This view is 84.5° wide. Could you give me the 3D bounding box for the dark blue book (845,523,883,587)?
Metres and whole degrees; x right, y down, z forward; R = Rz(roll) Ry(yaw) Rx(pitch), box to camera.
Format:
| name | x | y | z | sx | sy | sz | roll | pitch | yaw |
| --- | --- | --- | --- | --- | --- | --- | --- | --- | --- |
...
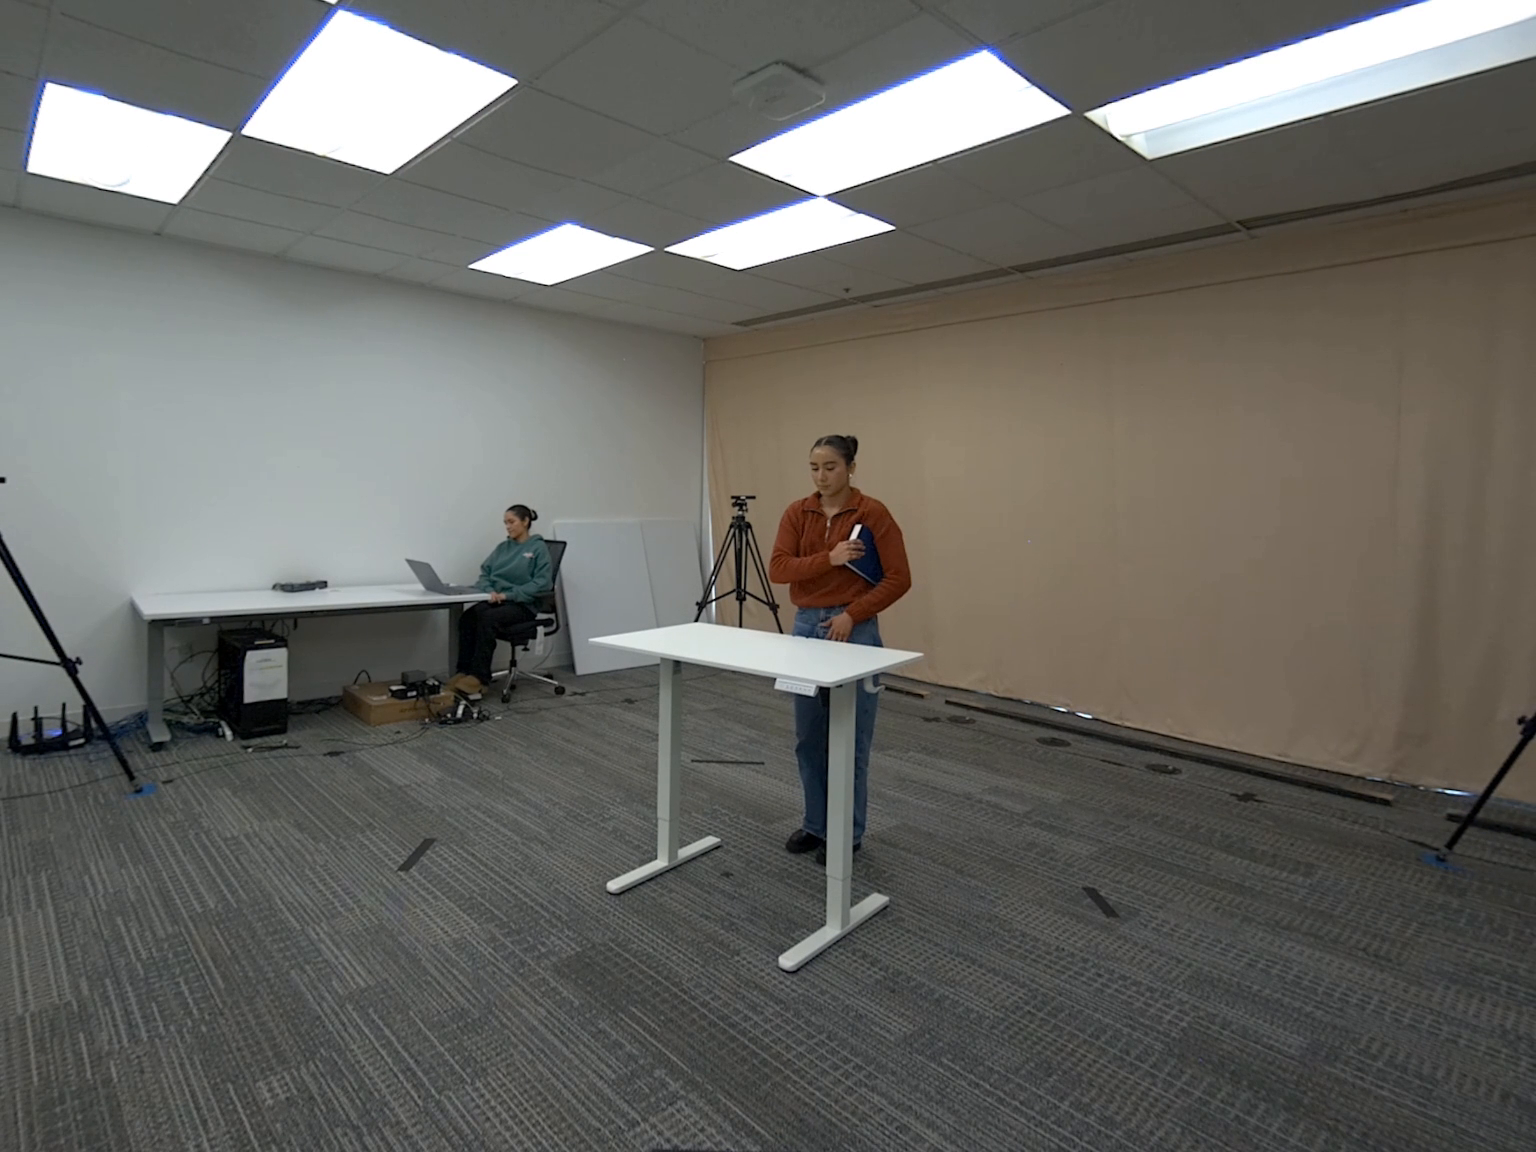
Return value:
| name | x | y | z | sx | sy | sz | roll | pitch | yaw |
| --- | --- | --- | --- | --- | --- | --- | --- | --- | --- |
| dark blue book | 0.390 | -0.069 | 3.214 | 0.243 | 0.164 | 0.045 | 33 | -13 | -7 |
